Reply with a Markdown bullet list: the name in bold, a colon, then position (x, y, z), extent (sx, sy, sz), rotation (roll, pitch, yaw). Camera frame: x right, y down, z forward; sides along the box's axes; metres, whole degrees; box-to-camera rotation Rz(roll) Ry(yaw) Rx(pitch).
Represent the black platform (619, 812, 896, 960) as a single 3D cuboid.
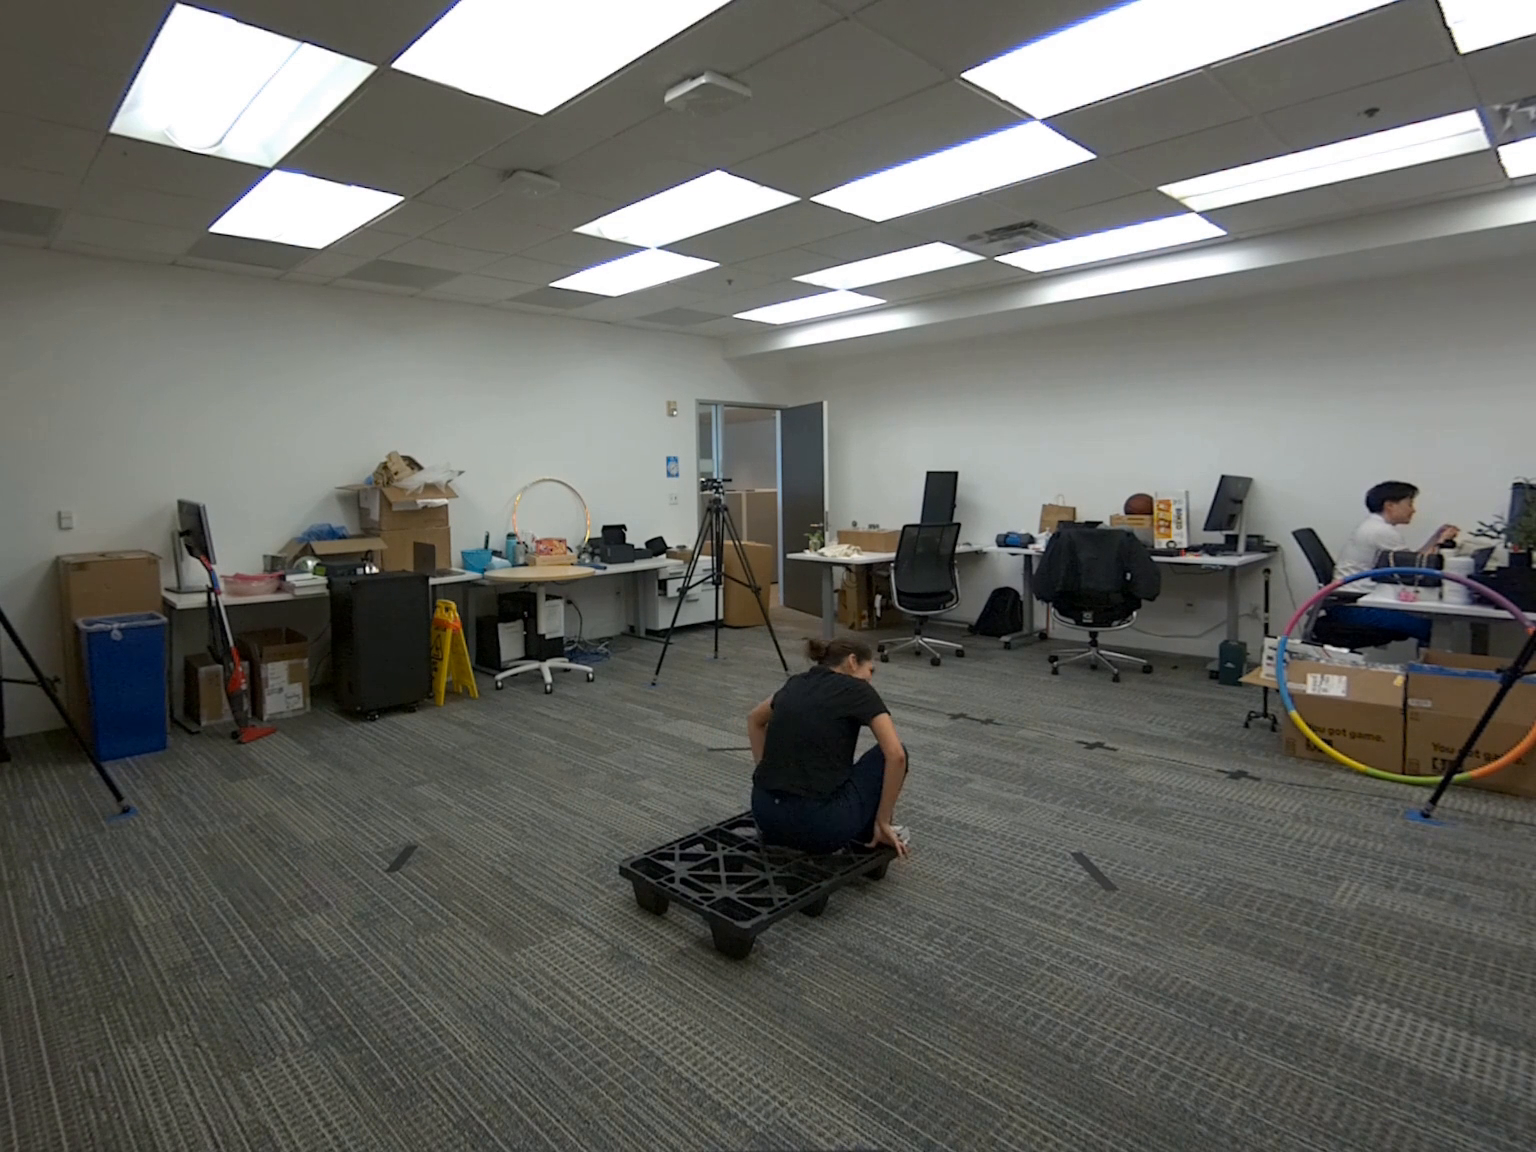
- **black platform**: position (-0.012, 1.005, 2.900), extent (0.624, 0.142, 0.784), rotation (6, 9, 43)
